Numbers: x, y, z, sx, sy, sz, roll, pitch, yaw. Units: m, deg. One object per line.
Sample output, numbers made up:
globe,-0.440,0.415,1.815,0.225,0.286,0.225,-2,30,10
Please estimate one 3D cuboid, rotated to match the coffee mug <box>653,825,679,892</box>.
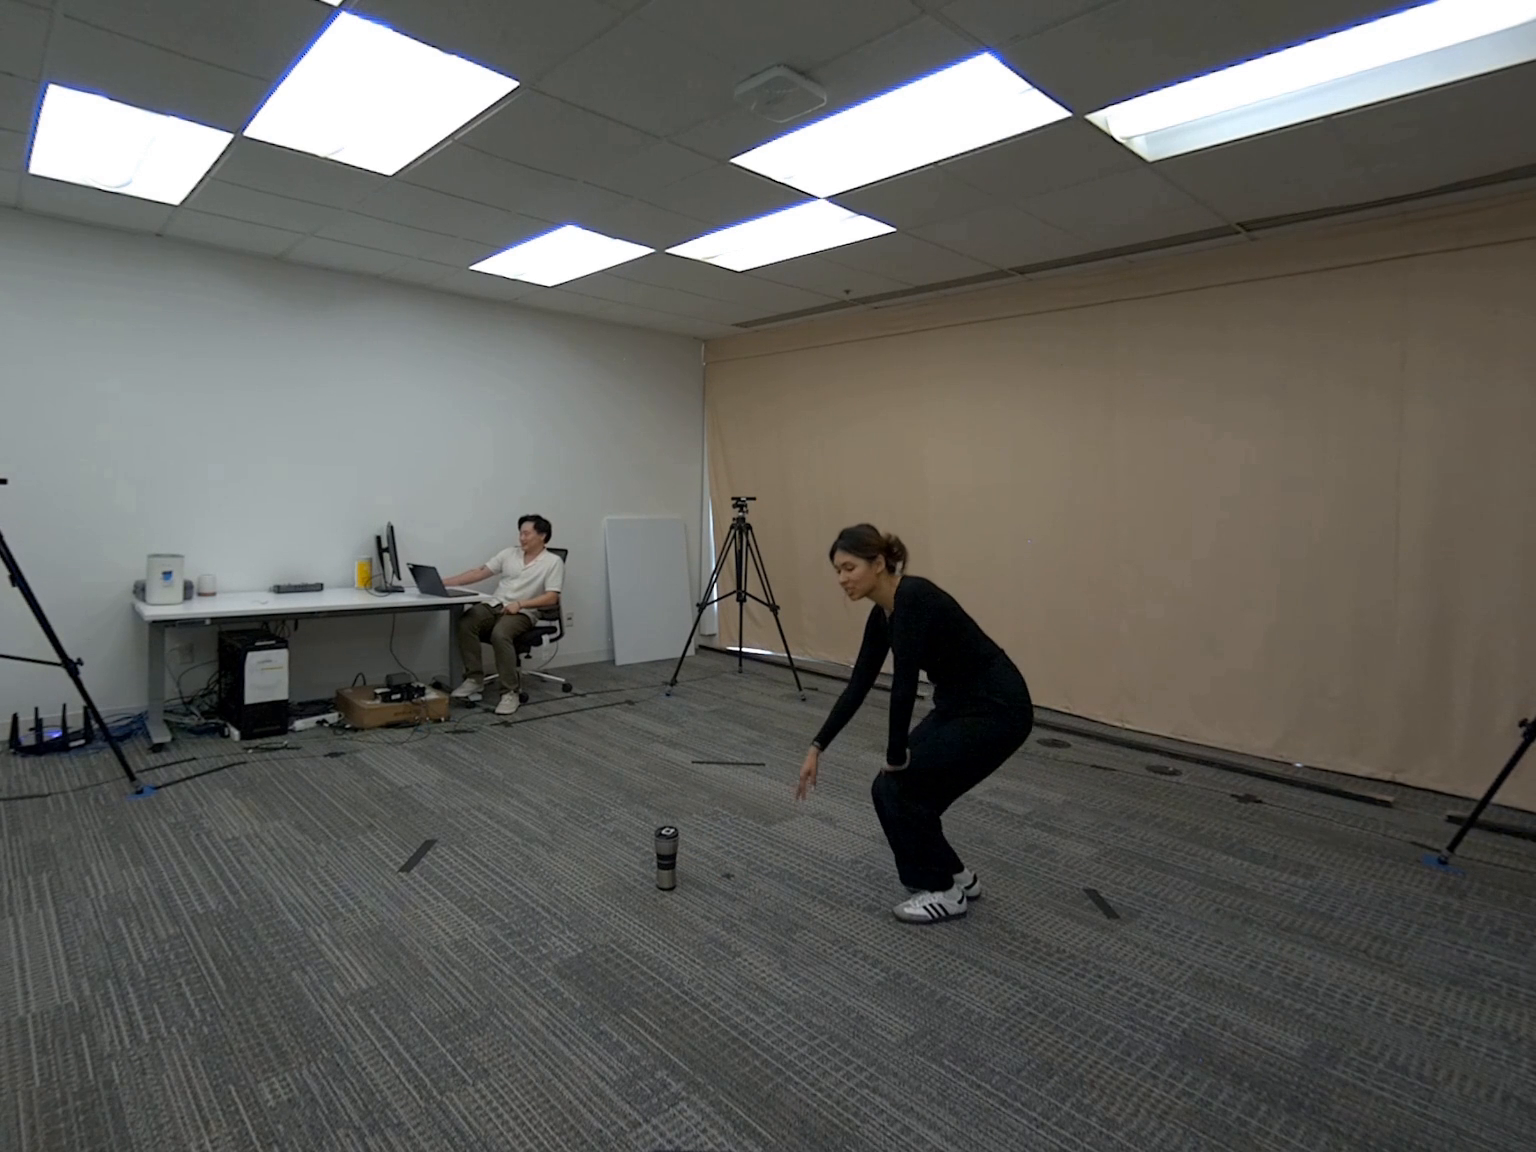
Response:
coffee mug,-0.355,1.003,3.024,0.089,0.202,0.120,0,7,20
